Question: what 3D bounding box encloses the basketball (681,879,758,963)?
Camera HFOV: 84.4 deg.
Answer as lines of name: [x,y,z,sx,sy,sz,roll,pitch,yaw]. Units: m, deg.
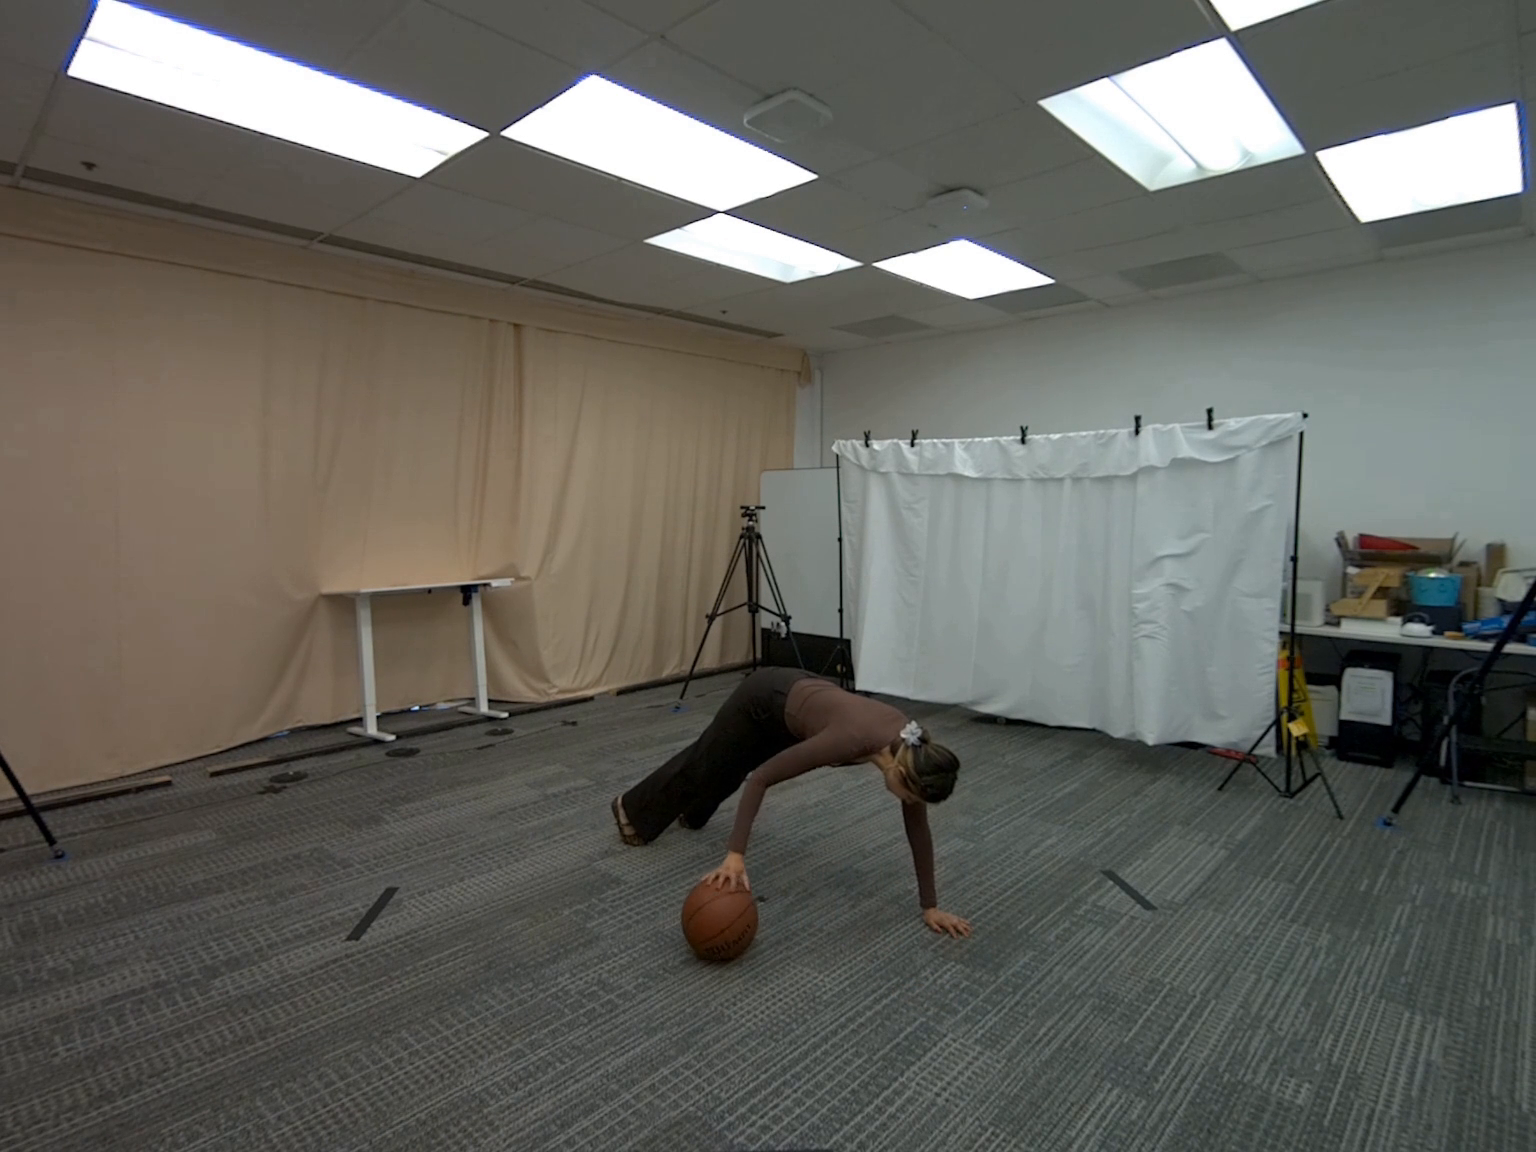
basketball: [-0.147,1.055,2.614,0.236,0.235,0.237,0,4,-2]
